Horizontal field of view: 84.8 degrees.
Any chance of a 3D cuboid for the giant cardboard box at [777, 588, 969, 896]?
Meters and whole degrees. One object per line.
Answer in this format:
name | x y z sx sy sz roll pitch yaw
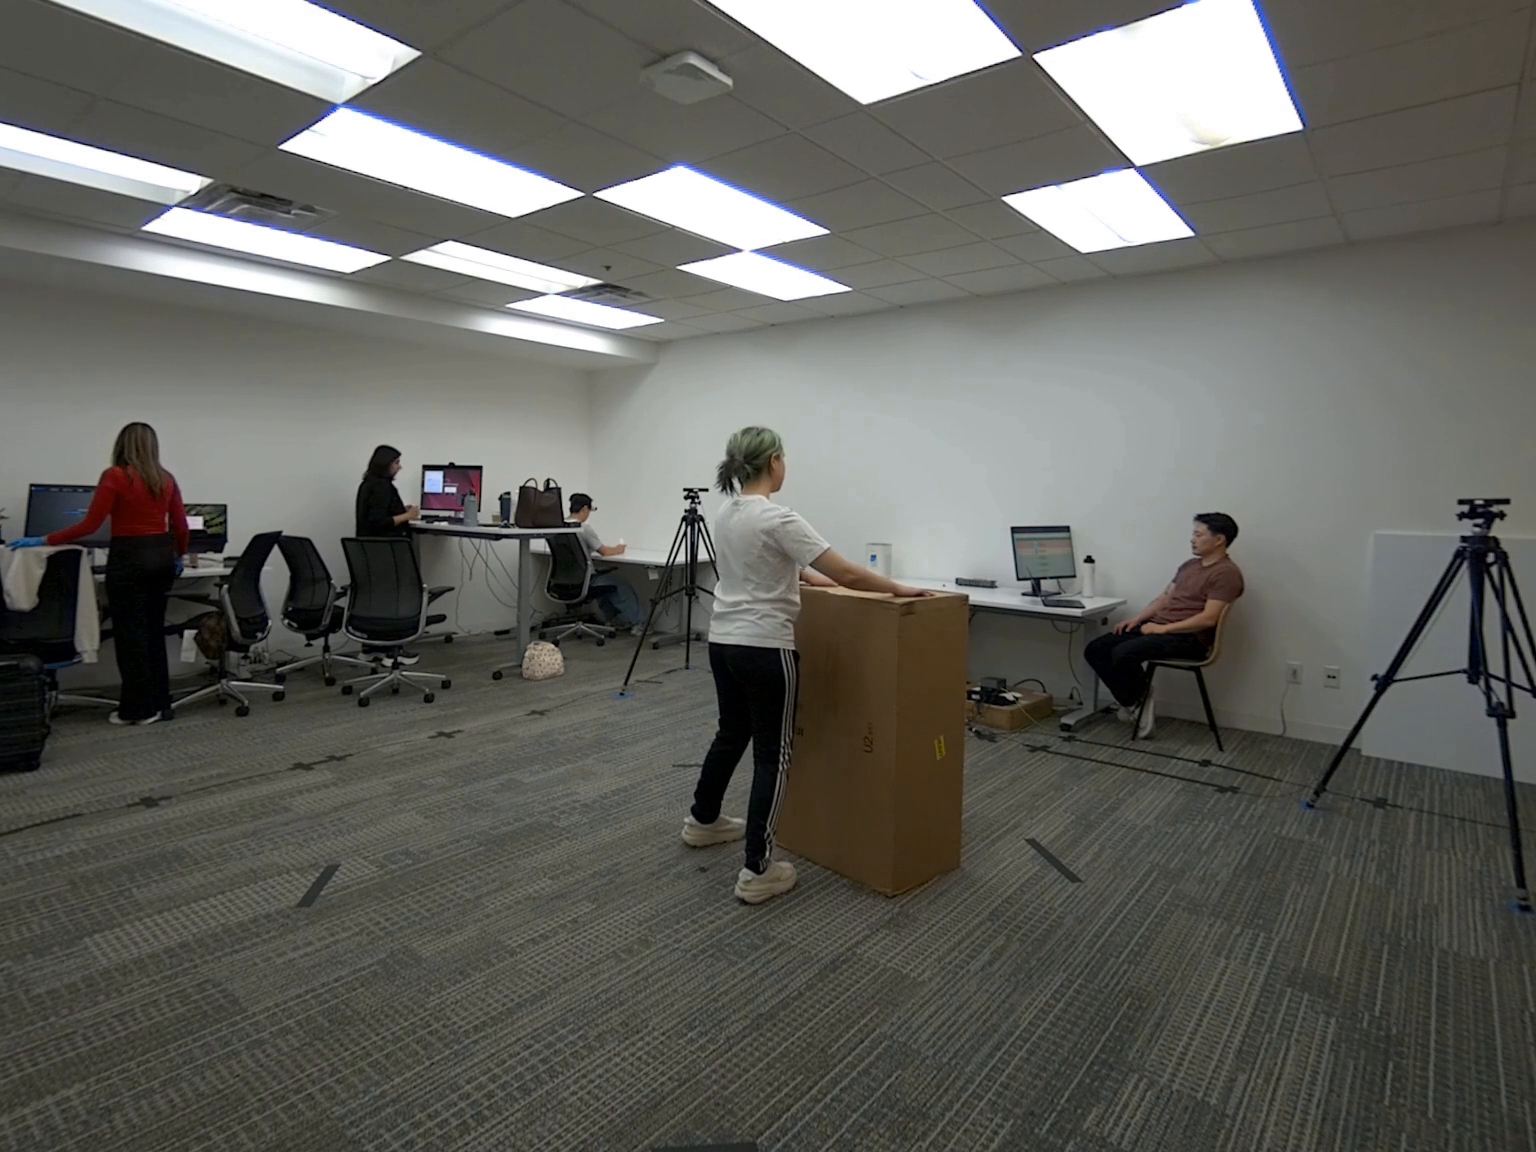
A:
giant cardboard box | 0.383 0.564 3.249 0.433 1.024 0.604 -2 4 -43
